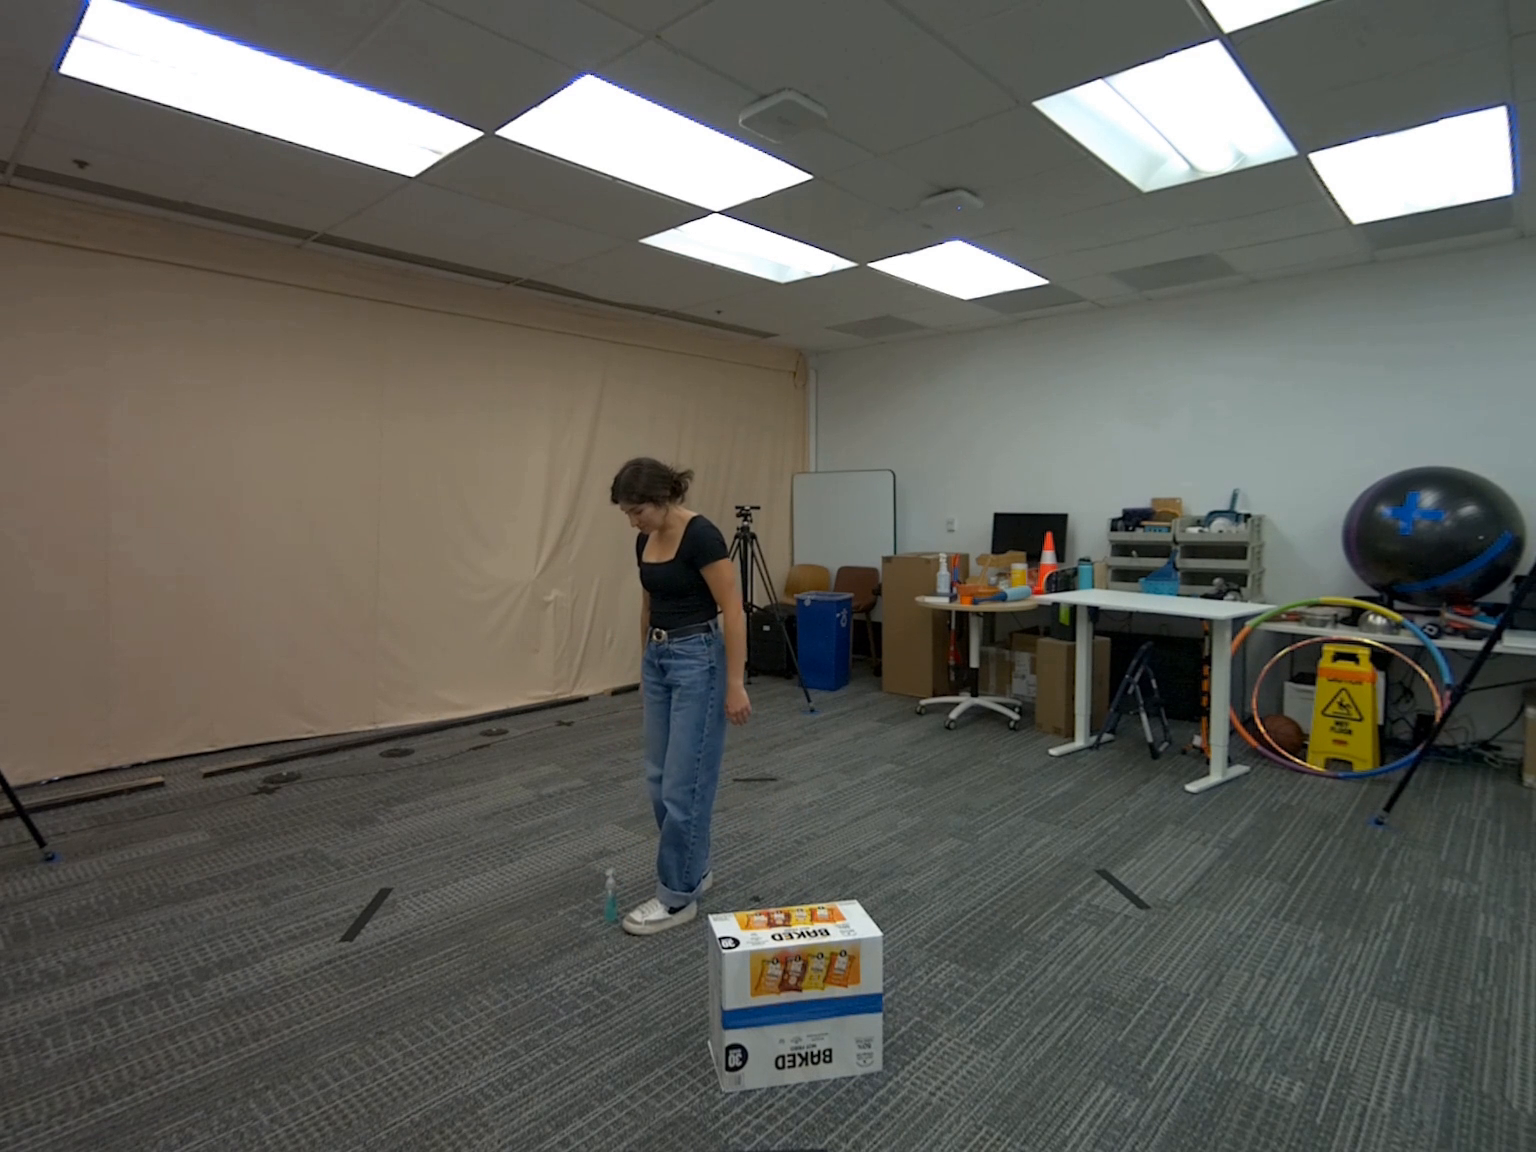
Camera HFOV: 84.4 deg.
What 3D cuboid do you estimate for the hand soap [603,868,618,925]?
[{"bbox_3d":[-0.531,1.080,2.841,0.043,0.167,0.084,3,8,4],"label":"hand soap"}]
